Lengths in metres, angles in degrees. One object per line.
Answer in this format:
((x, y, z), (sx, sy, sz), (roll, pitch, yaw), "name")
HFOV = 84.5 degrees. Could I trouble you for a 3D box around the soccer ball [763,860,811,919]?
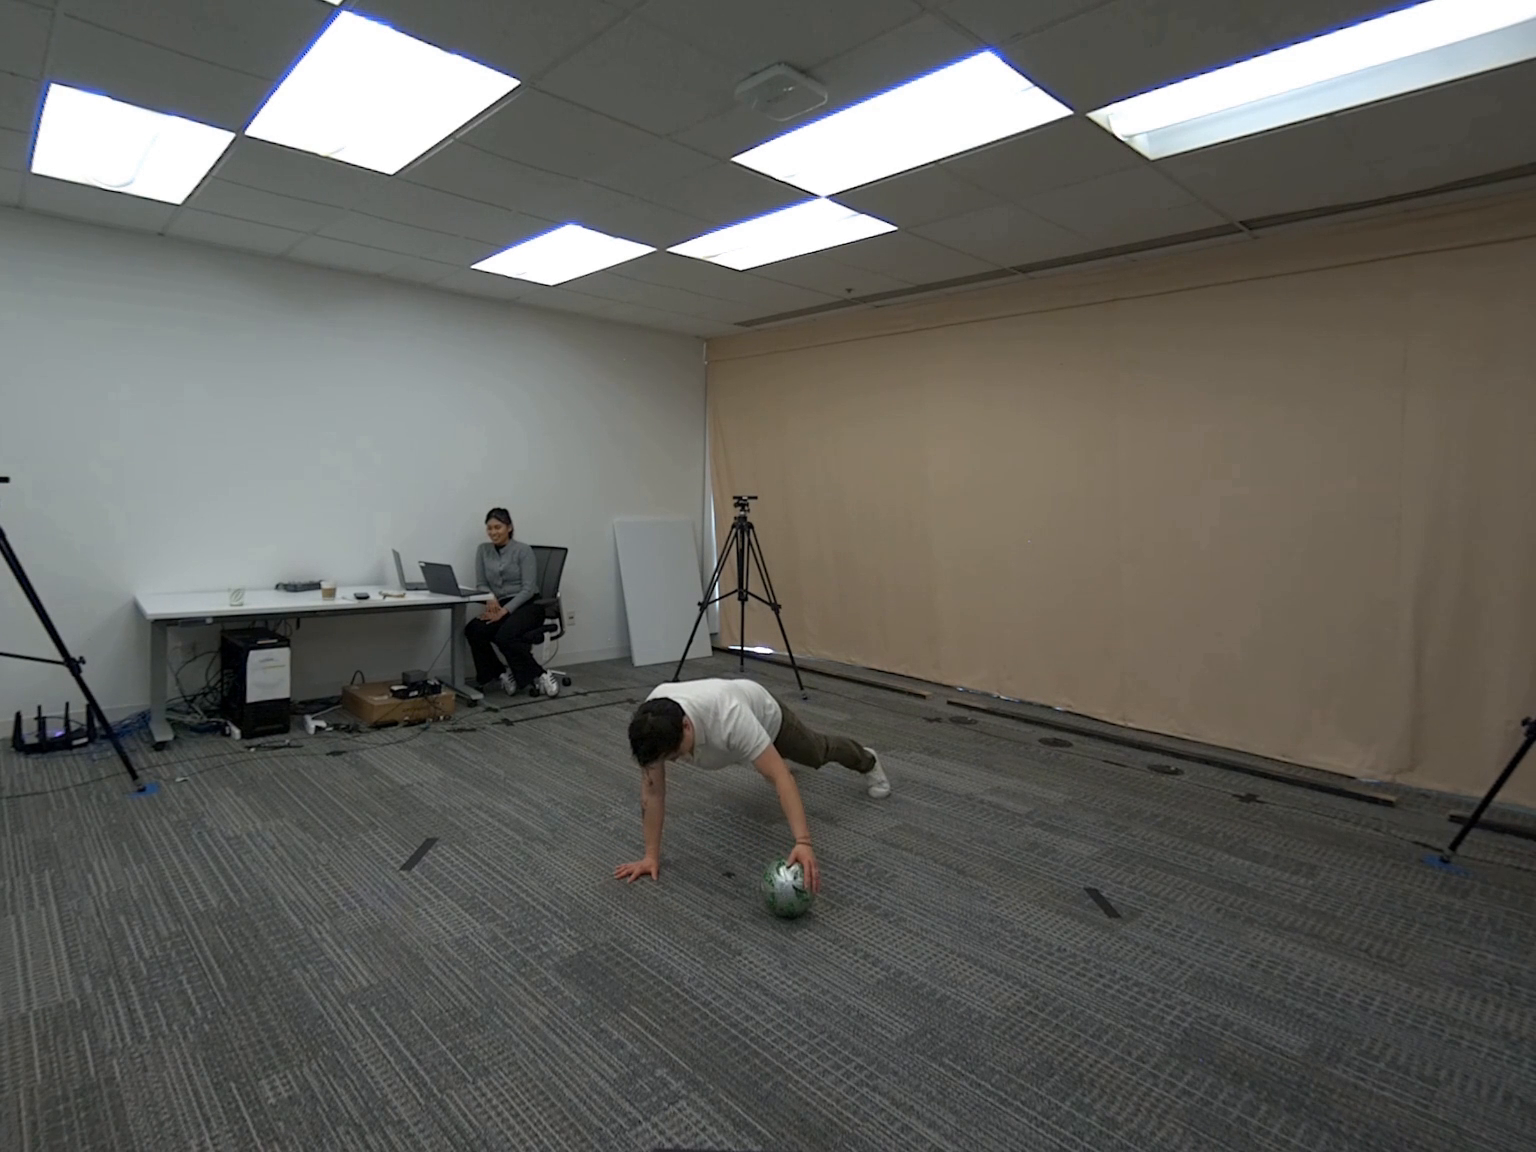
((0.037, 1.042, 2.818), (0.187, 0.187, 0.188), (1, 4, -1), "soccer ball")
